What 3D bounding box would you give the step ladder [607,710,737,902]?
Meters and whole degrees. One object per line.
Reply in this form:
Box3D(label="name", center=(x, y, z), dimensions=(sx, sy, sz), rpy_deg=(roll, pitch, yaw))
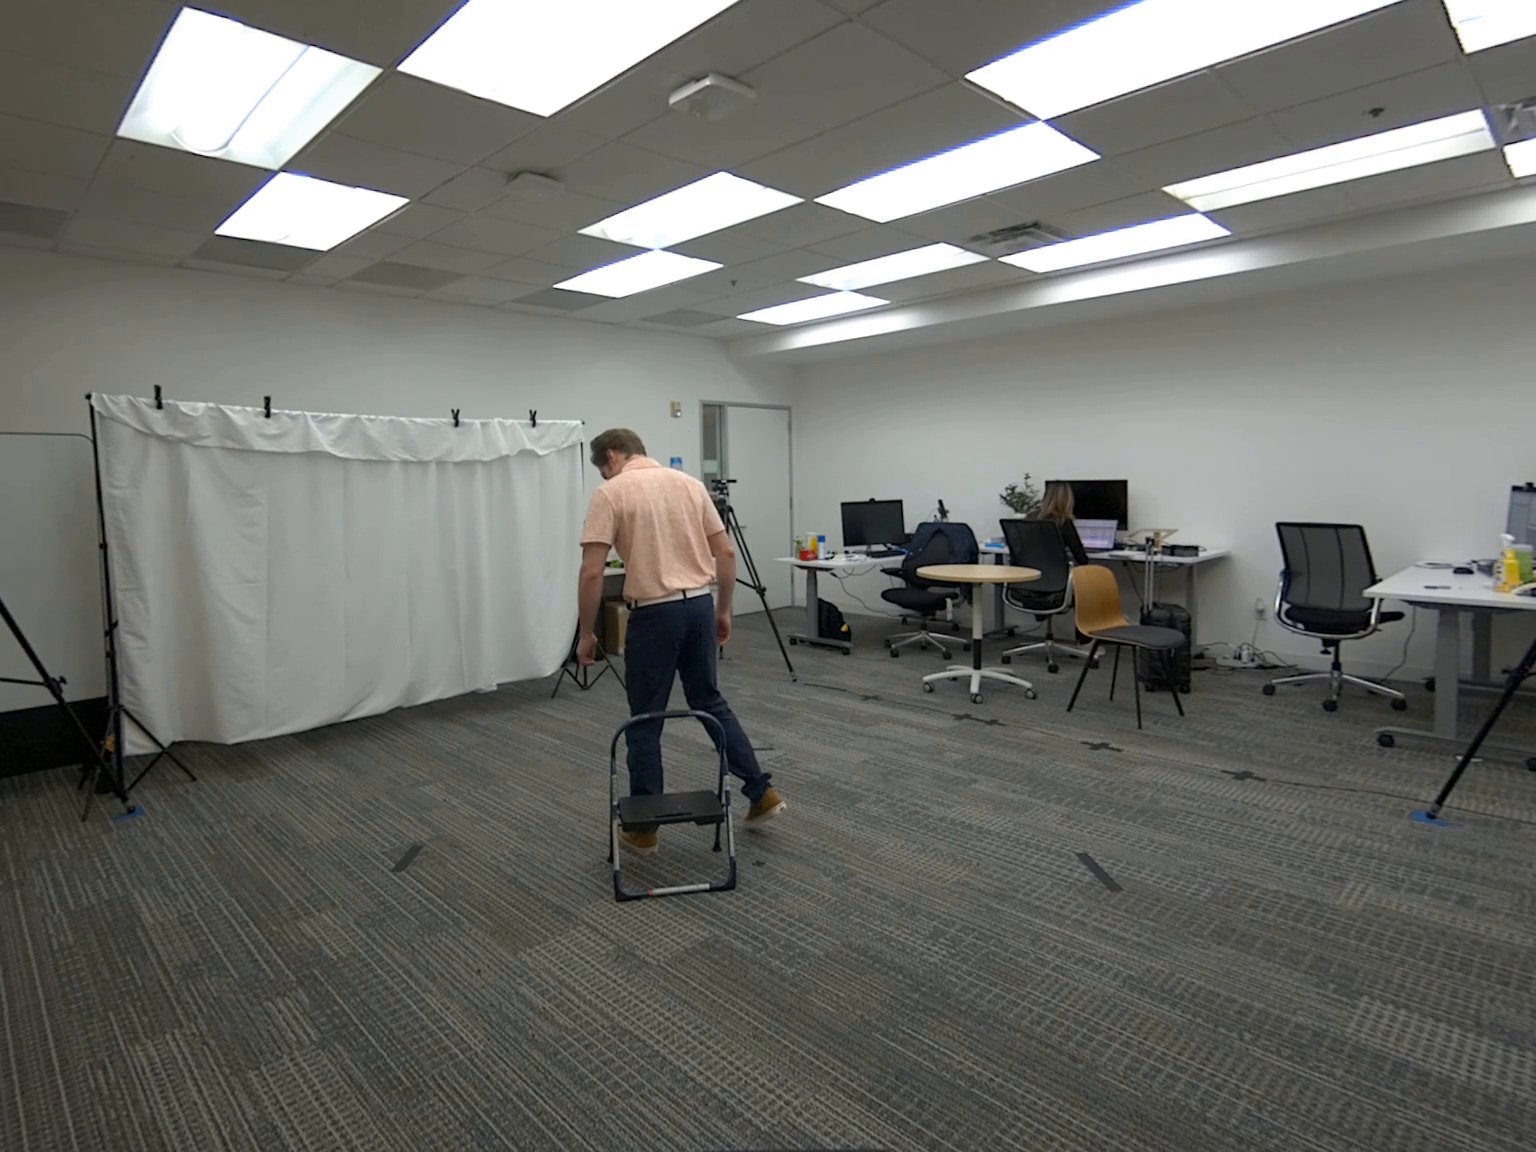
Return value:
Box3D(label="step ladder", center=(-0.357, 0.766, 3.022), dimensions=(0.426, 0.604, 0.354), rpy_deg=(-3, 4, -12))
